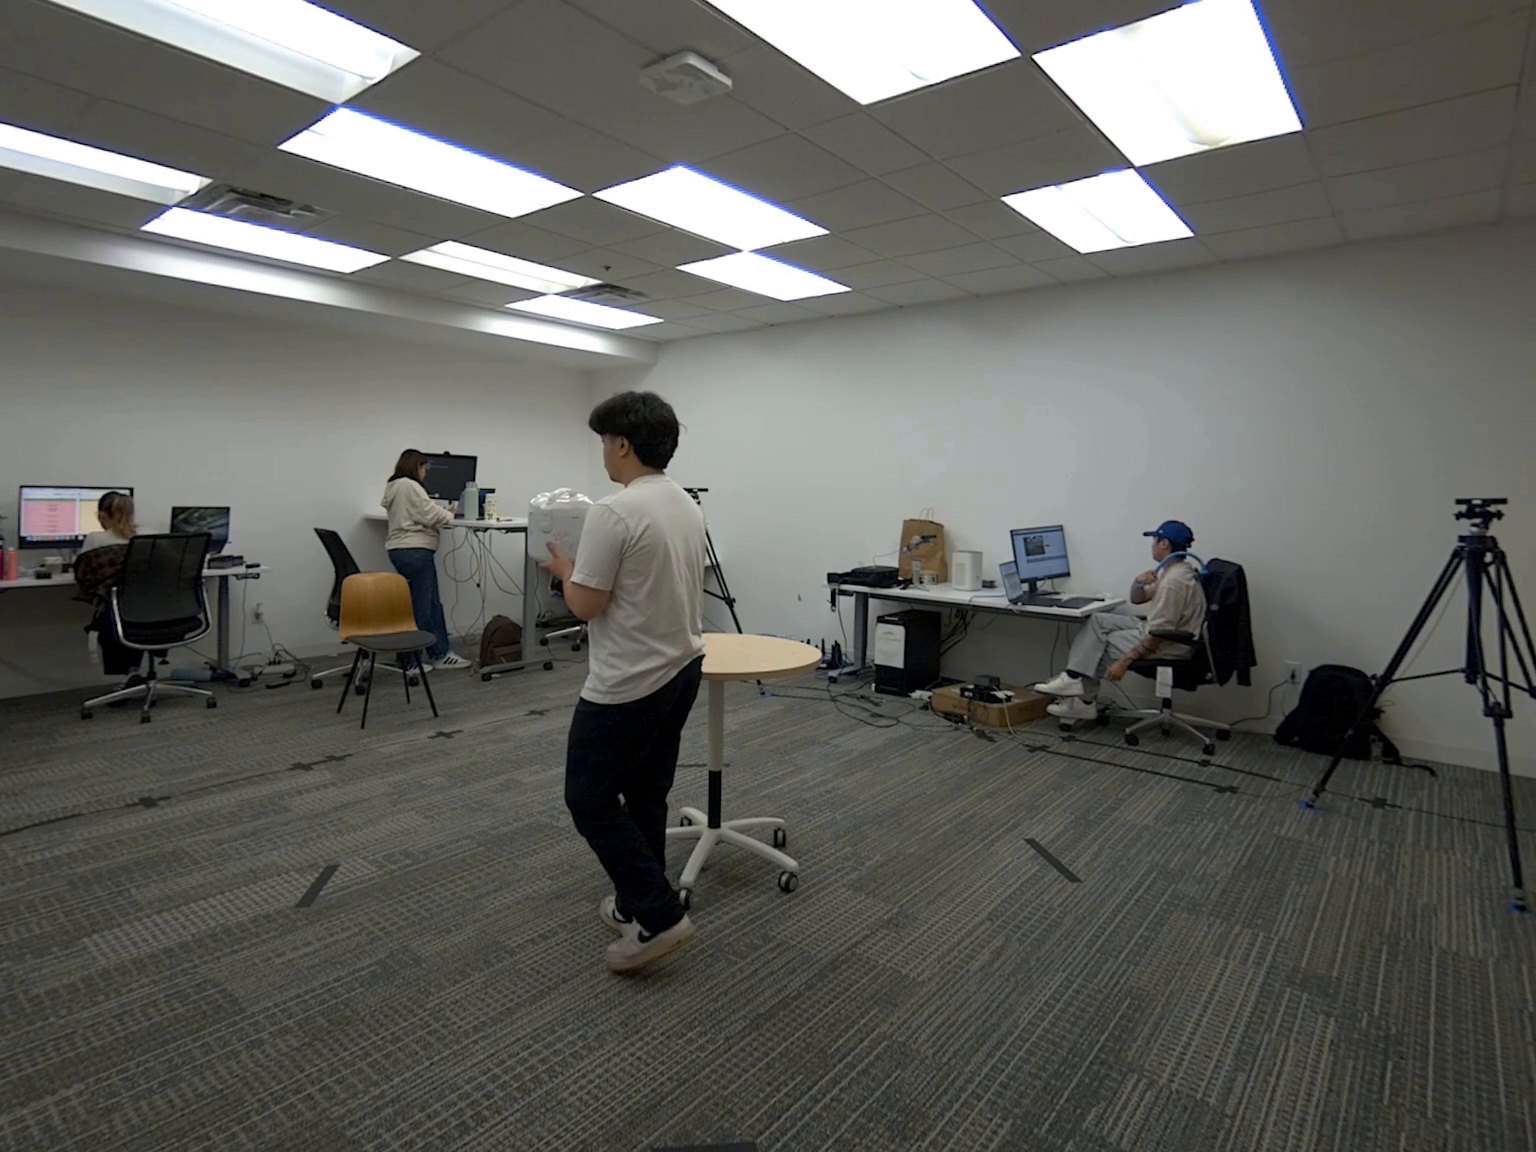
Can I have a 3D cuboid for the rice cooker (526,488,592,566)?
[{"bbox_3d":[-0.661,-0.164,2.696,0.222,0.230,0.219,8,14,15],"label":"rice cooker"}]
